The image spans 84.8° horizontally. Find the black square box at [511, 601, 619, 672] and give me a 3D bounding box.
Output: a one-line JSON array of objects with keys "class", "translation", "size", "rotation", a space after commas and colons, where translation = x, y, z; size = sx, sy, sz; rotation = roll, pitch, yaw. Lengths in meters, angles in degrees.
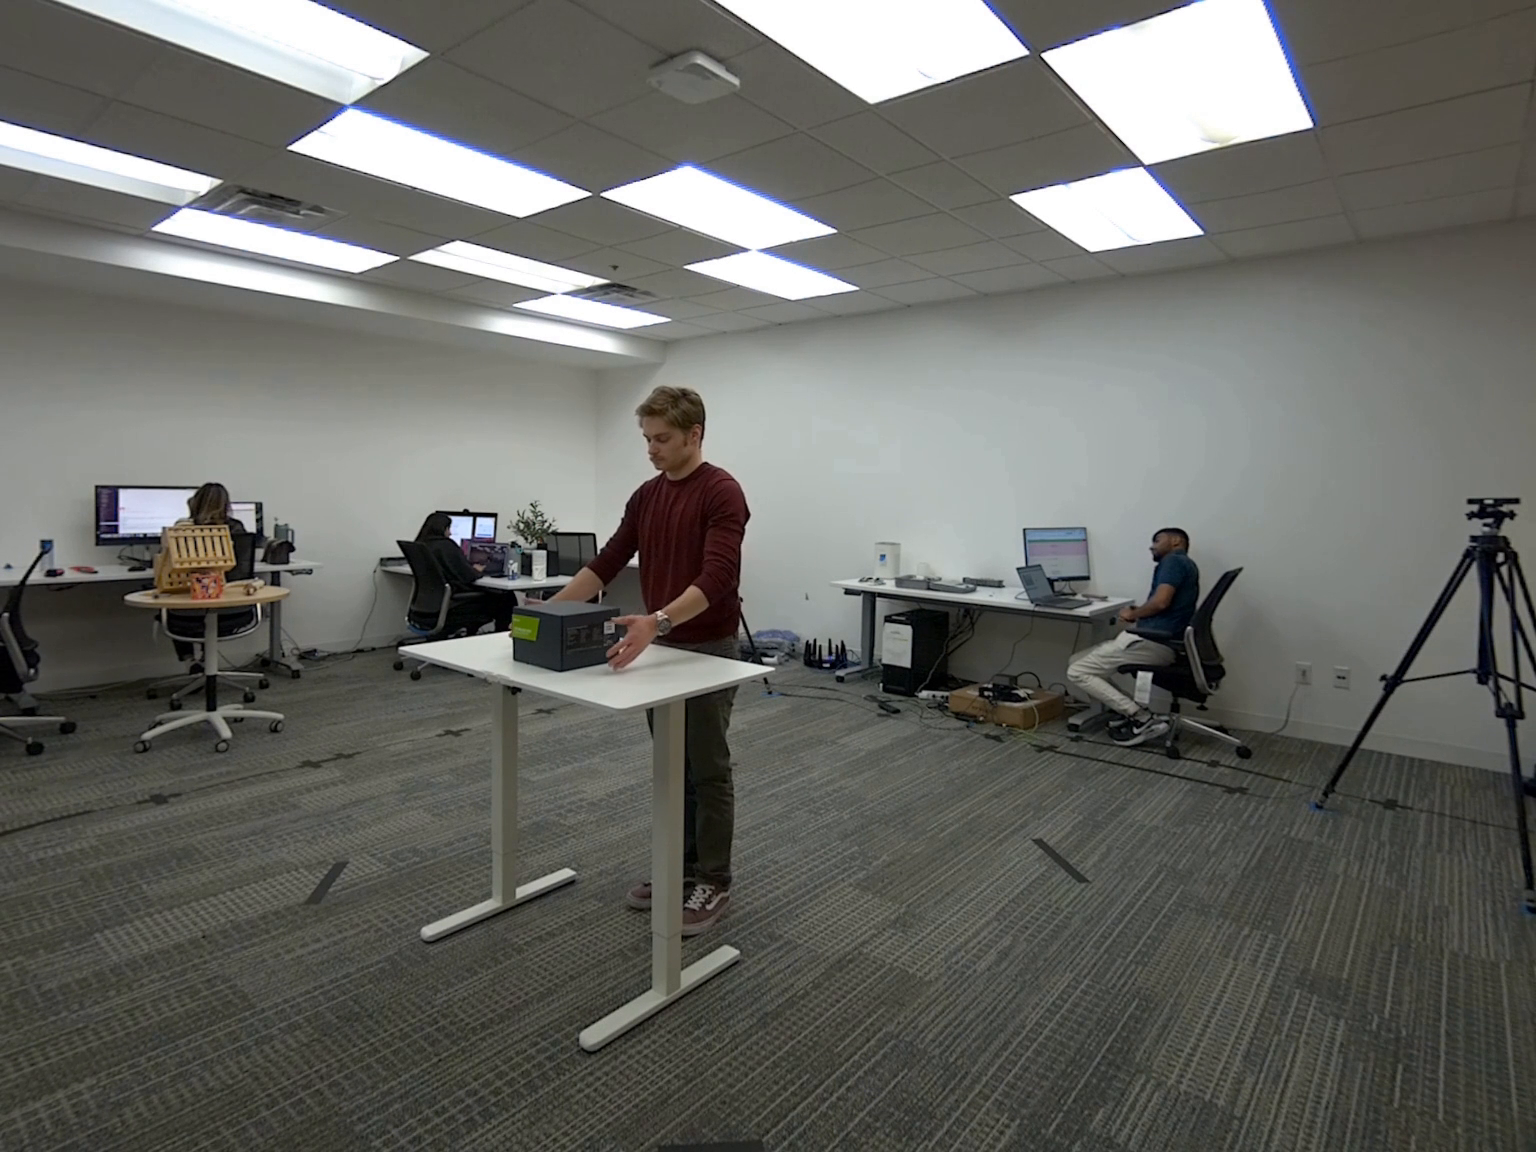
[{"class": "black square box", "translation": [-0.596, 0.163, 2.460], "size": [0.235, 0.155, 0.211], "rotation": [5, 7, 38]}]
